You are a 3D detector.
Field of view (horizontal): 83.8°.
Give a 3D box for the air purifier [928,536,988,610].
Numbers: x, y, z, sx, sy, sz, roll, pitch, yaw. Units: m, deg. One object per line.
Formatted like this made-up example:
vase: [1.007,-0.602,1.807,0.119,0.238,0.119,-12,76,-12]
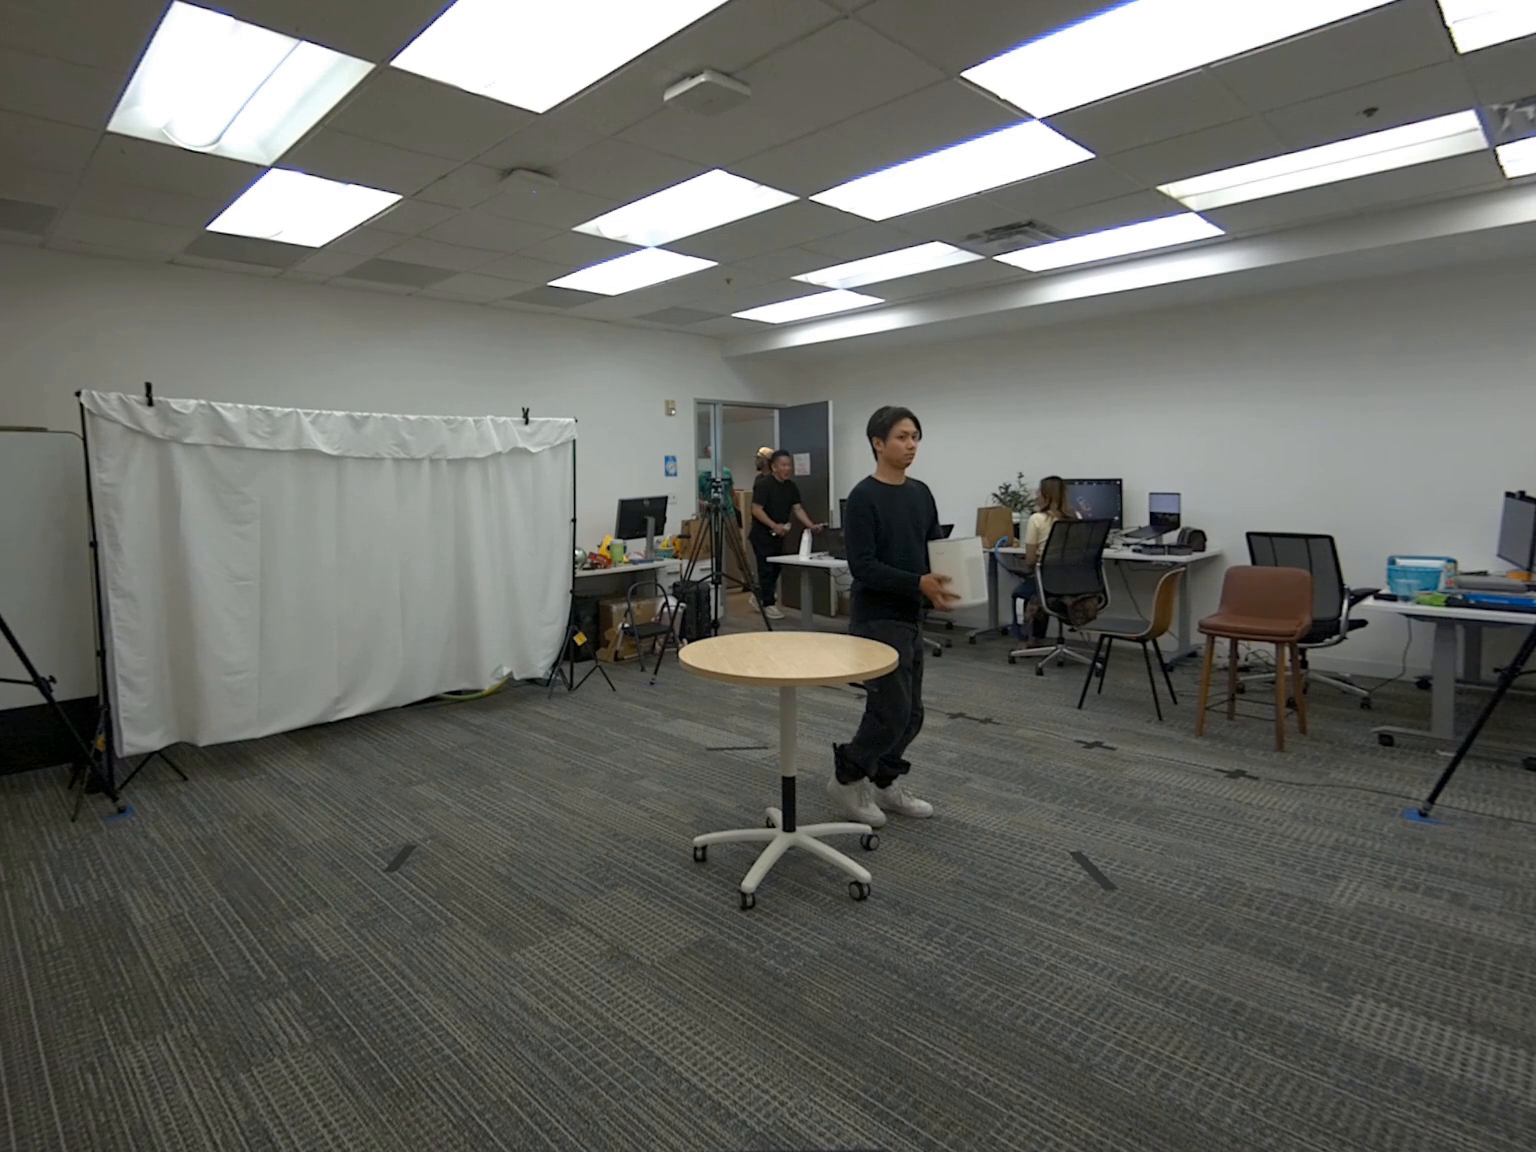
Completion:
air purifier: [0.725,-0.009,3.255,0.167,0.265,0.175,-7,1,-41]
